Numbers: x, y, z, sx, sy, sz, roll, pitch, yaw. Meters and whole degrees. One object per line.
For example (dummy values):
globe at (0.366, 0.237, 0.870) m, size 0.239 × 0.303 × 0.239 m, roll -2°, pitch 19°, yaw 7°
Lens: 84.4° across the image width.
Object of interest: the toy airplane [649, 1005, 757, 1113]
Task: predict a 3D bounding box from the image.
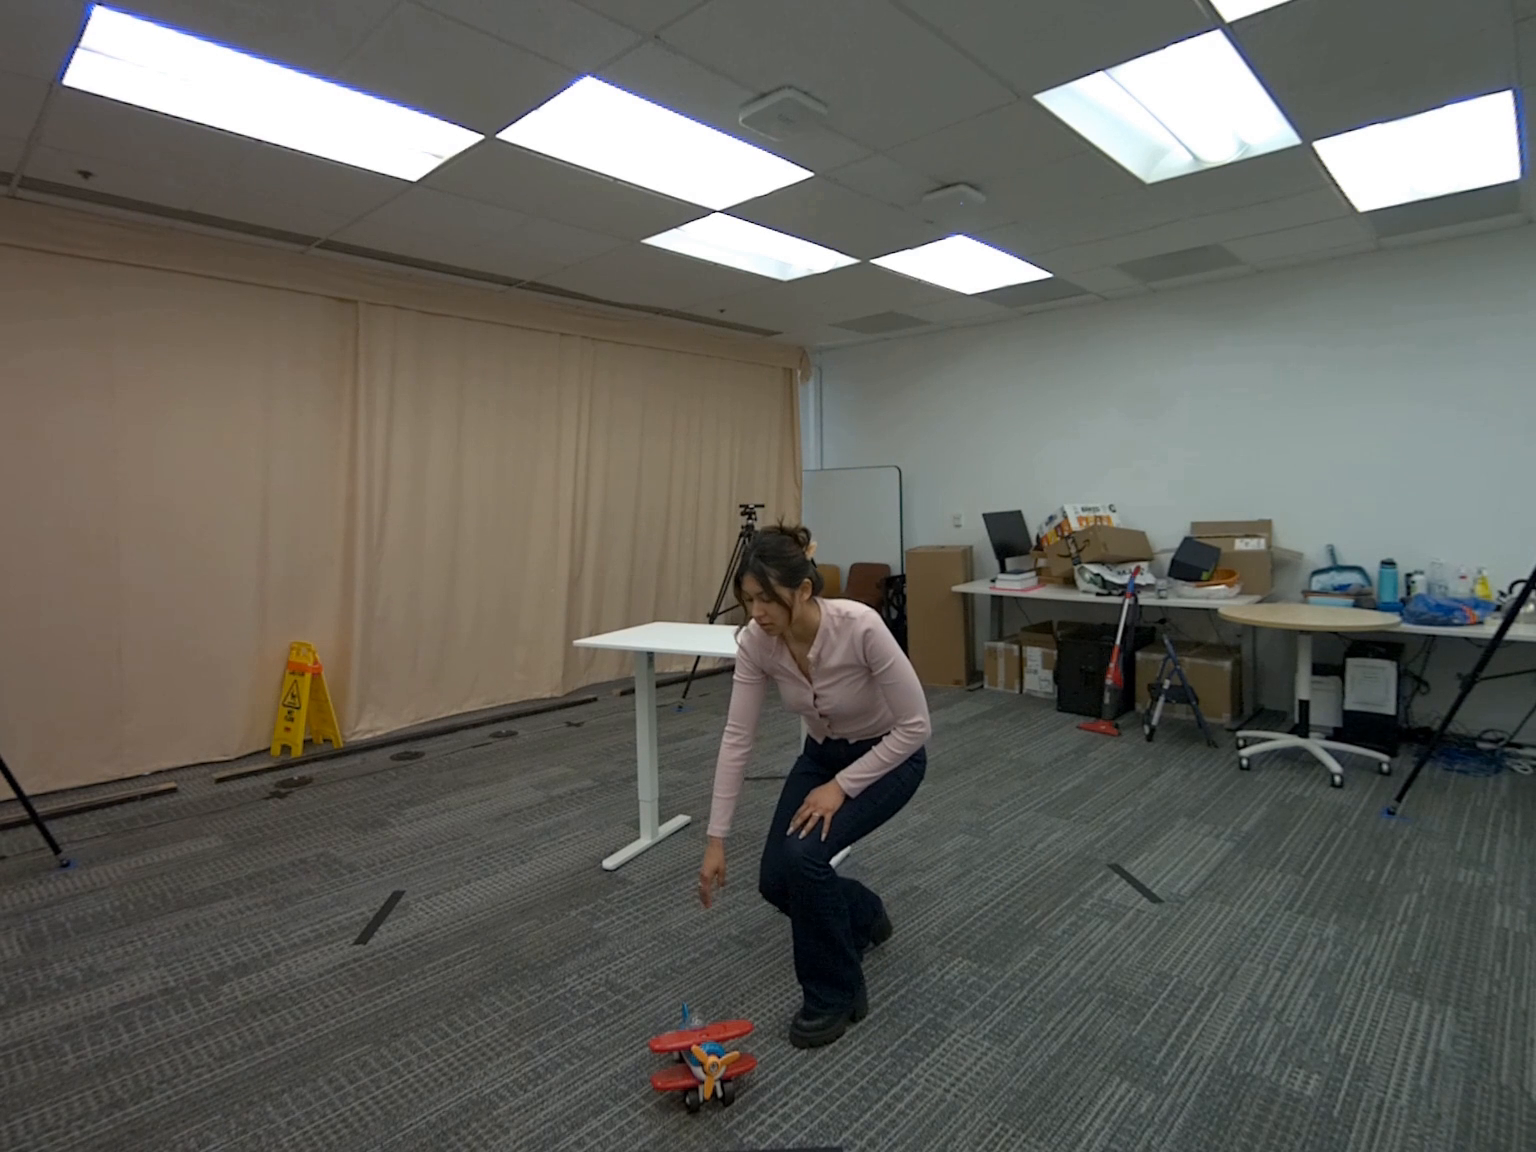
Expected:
toy airplane at (-0.180, 1.156, 2.019) m, size 0.268 × 0.156 × 0.243 m, roll 5°, pitch 7°, yaw 41°
